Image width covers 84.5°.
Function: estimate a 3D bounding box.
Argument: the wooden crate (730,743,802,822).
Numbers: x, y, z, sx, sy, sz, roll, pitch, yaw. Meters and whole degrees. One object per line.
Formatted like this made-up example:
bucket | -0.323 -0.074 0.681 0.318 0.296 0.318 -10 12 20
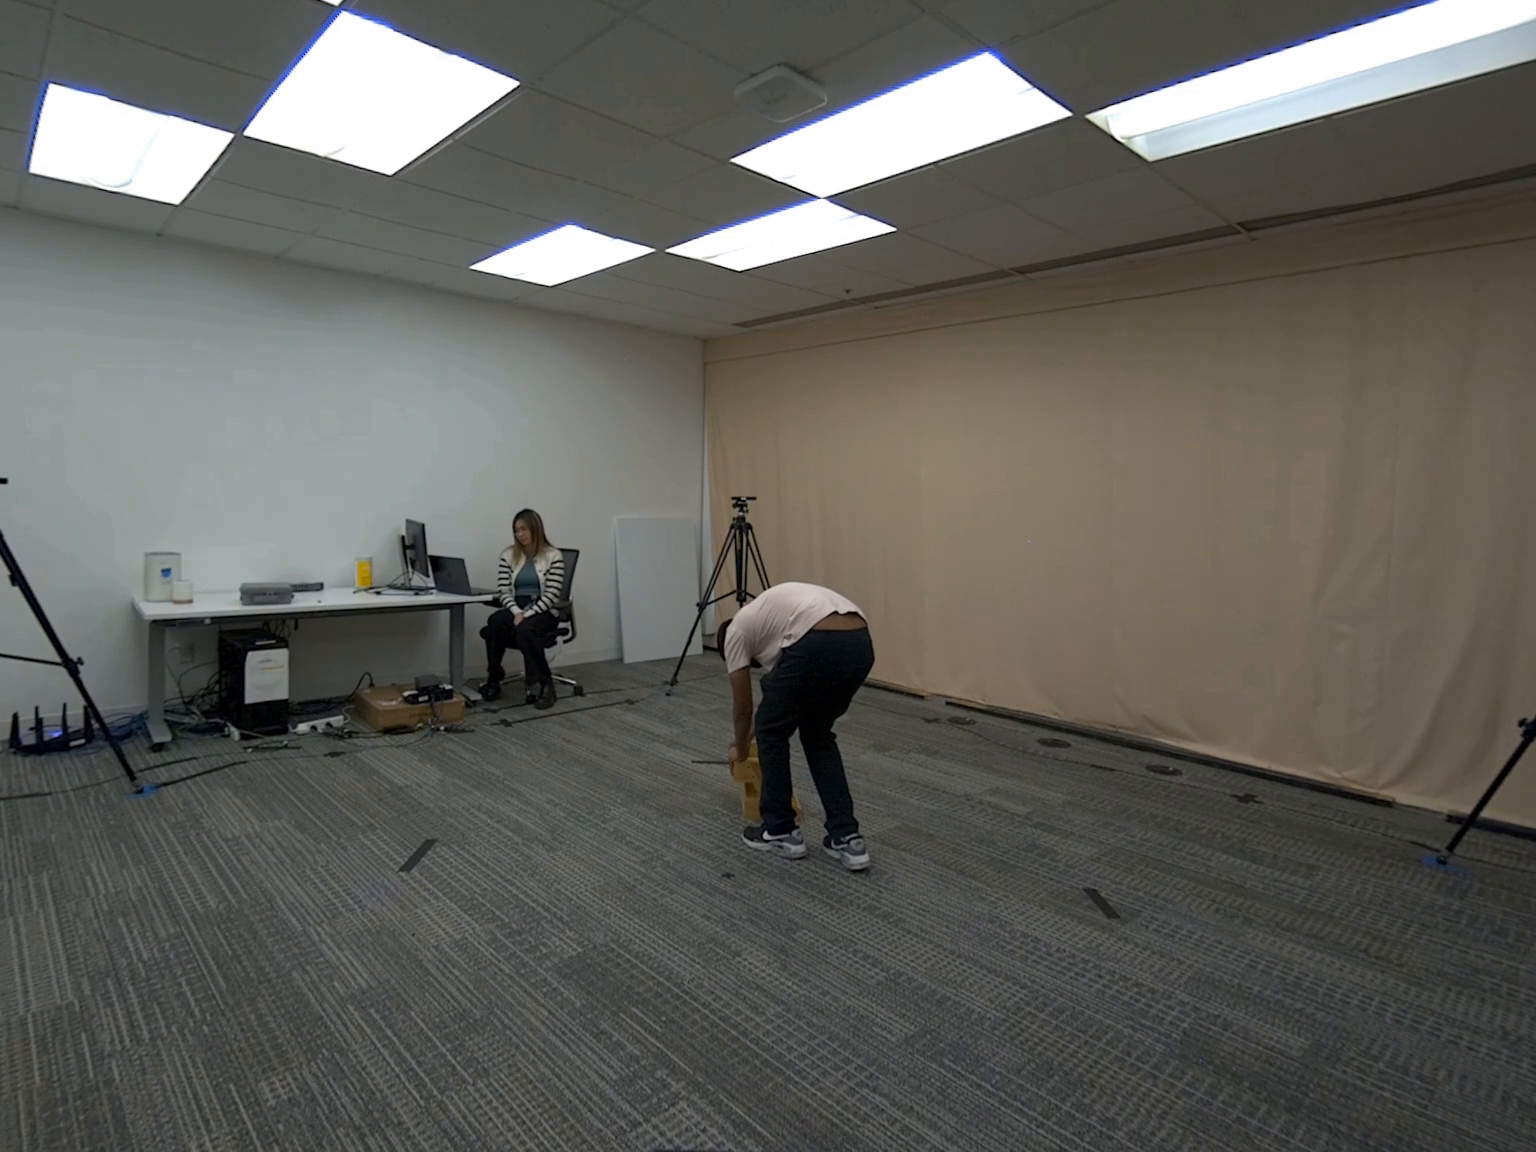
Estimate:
wooden crate | -0.020 0.918 3.799 0.301 0.273 0.326 0 4 -5
